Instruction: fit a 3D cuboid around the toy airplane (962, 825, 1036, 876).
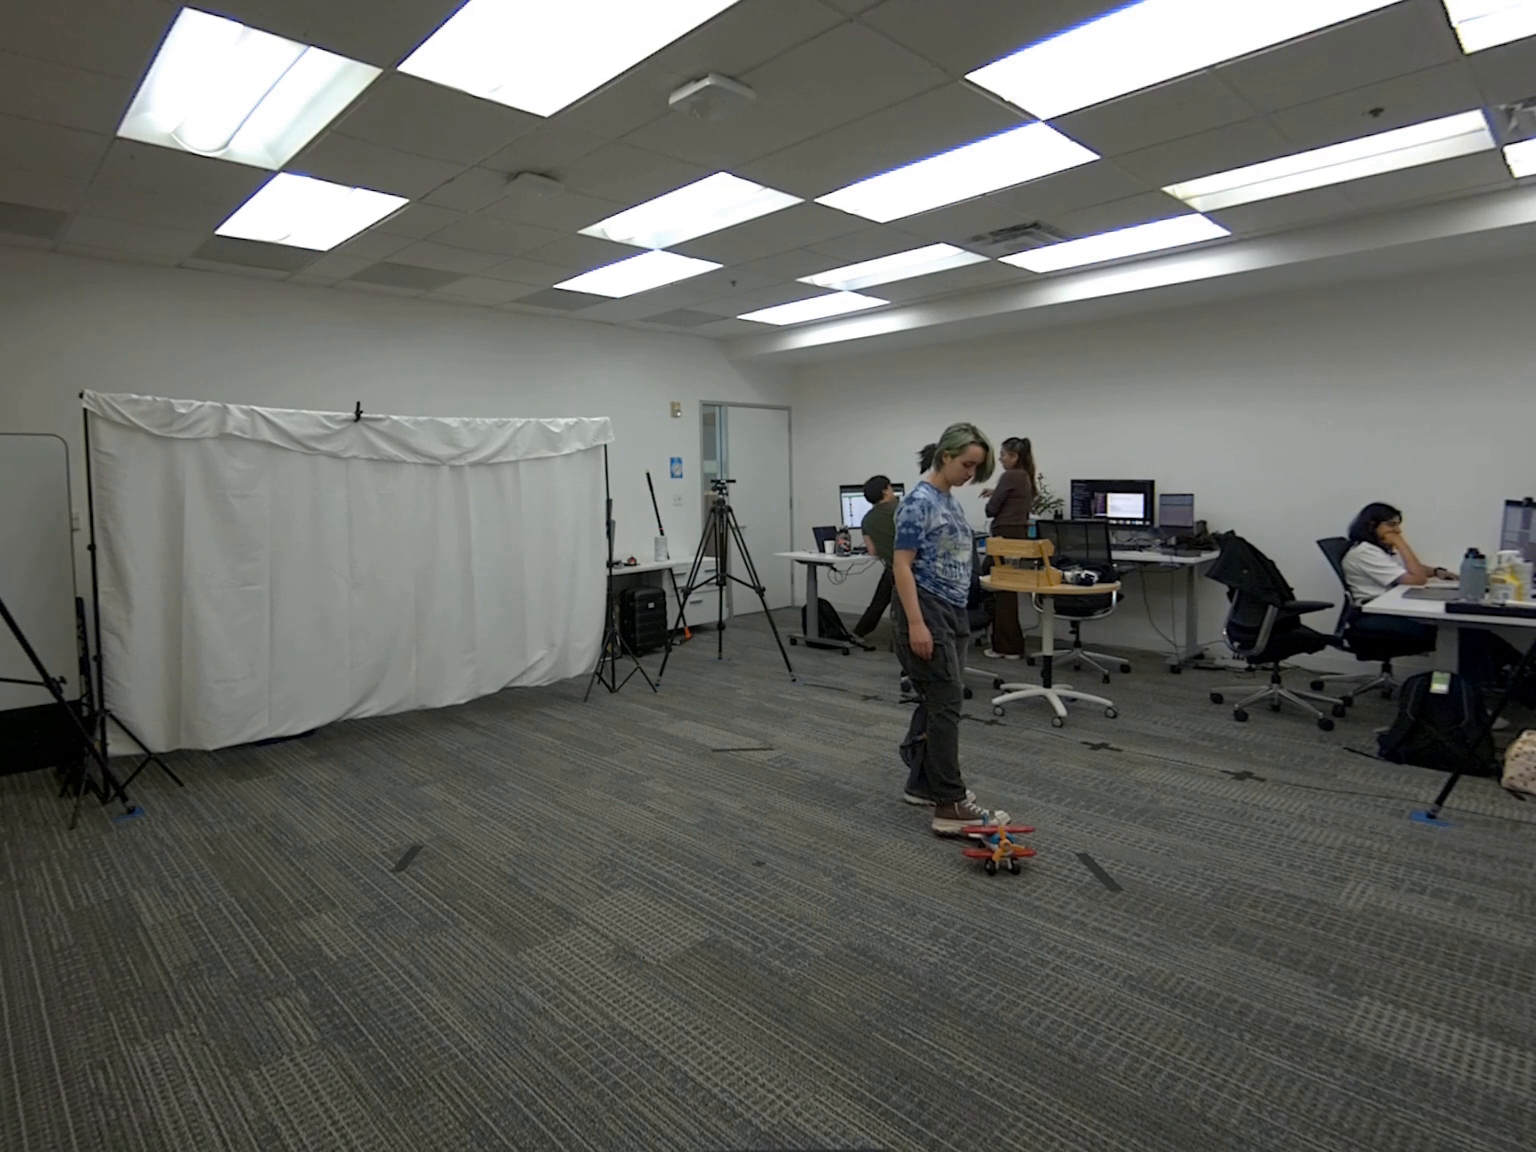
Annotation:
[{"bbox_3d":[0.802,0.965,3.076,0.245,0.156,0.266,-3,7,-30],"label":"toy airplane"}]
